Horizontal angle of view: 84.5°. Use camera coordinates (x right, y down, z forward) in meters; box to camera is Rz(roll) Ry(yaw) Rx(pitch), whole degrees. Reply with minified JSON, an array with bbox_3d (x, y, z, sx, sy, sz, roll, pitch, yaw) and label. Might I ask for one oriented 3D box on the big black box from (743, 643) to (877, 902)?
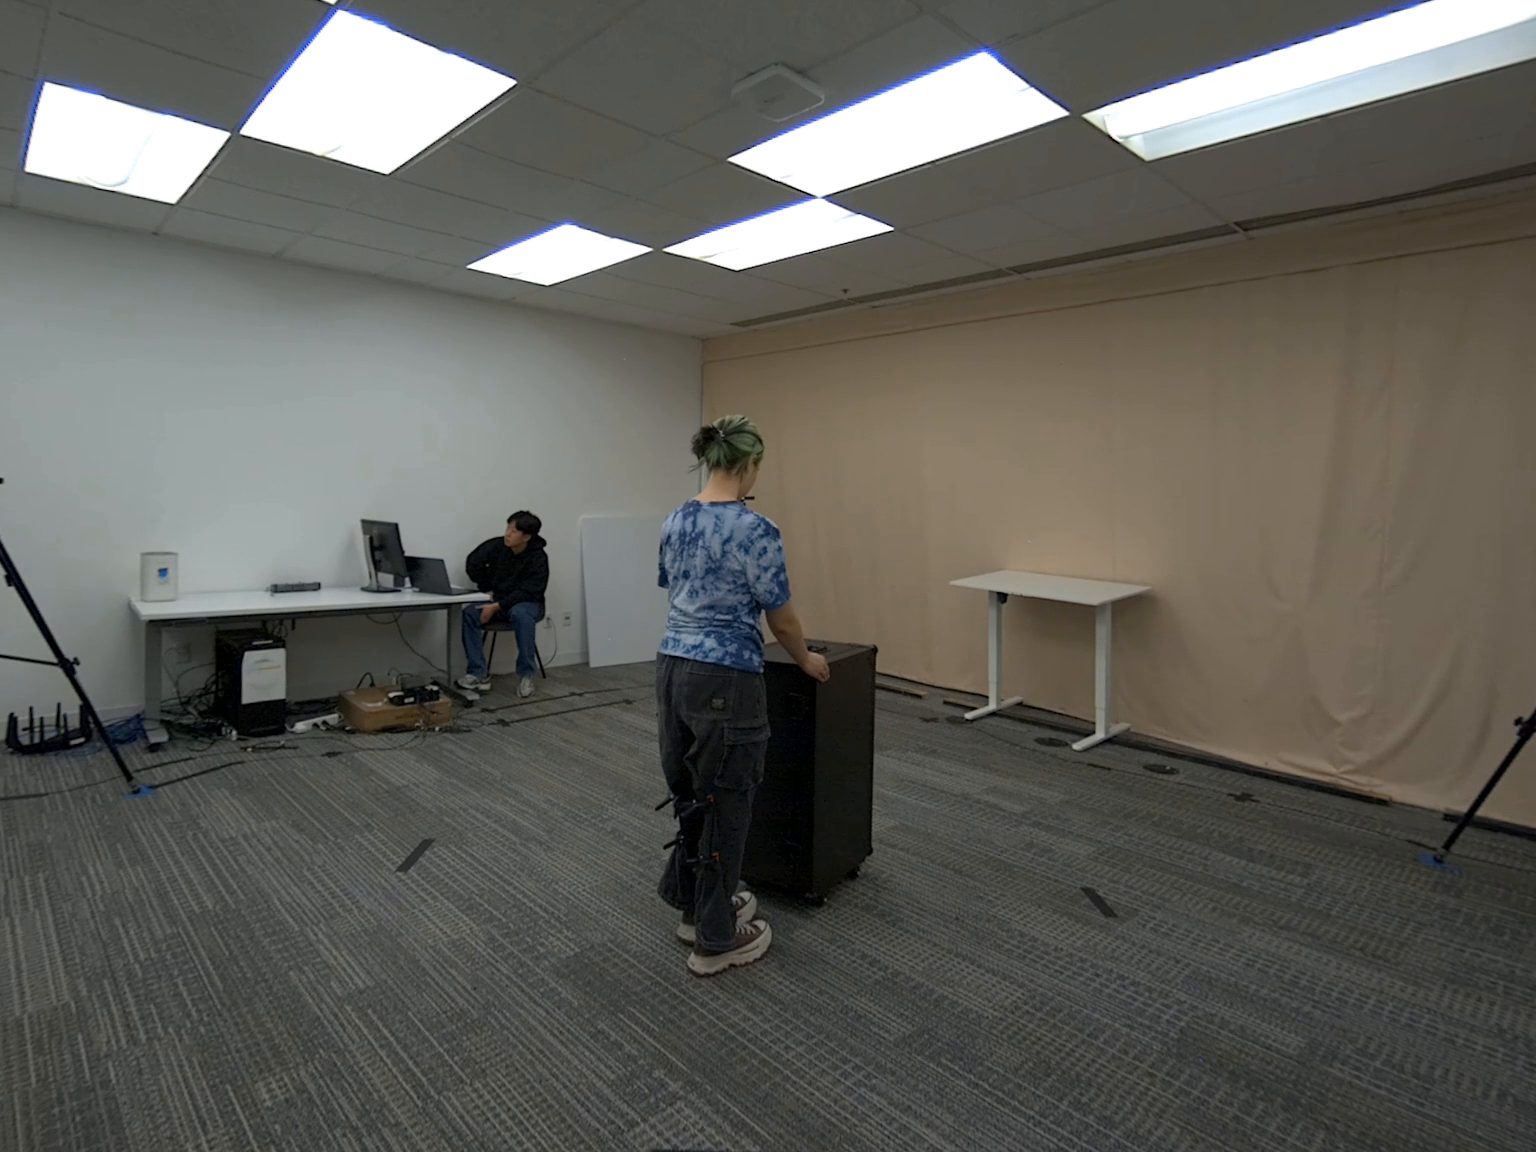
[{"bbox_3d":[0.111,0.693,3.035,0.405,0.859,0.511,2,4,32],"label":"big black box"}]
